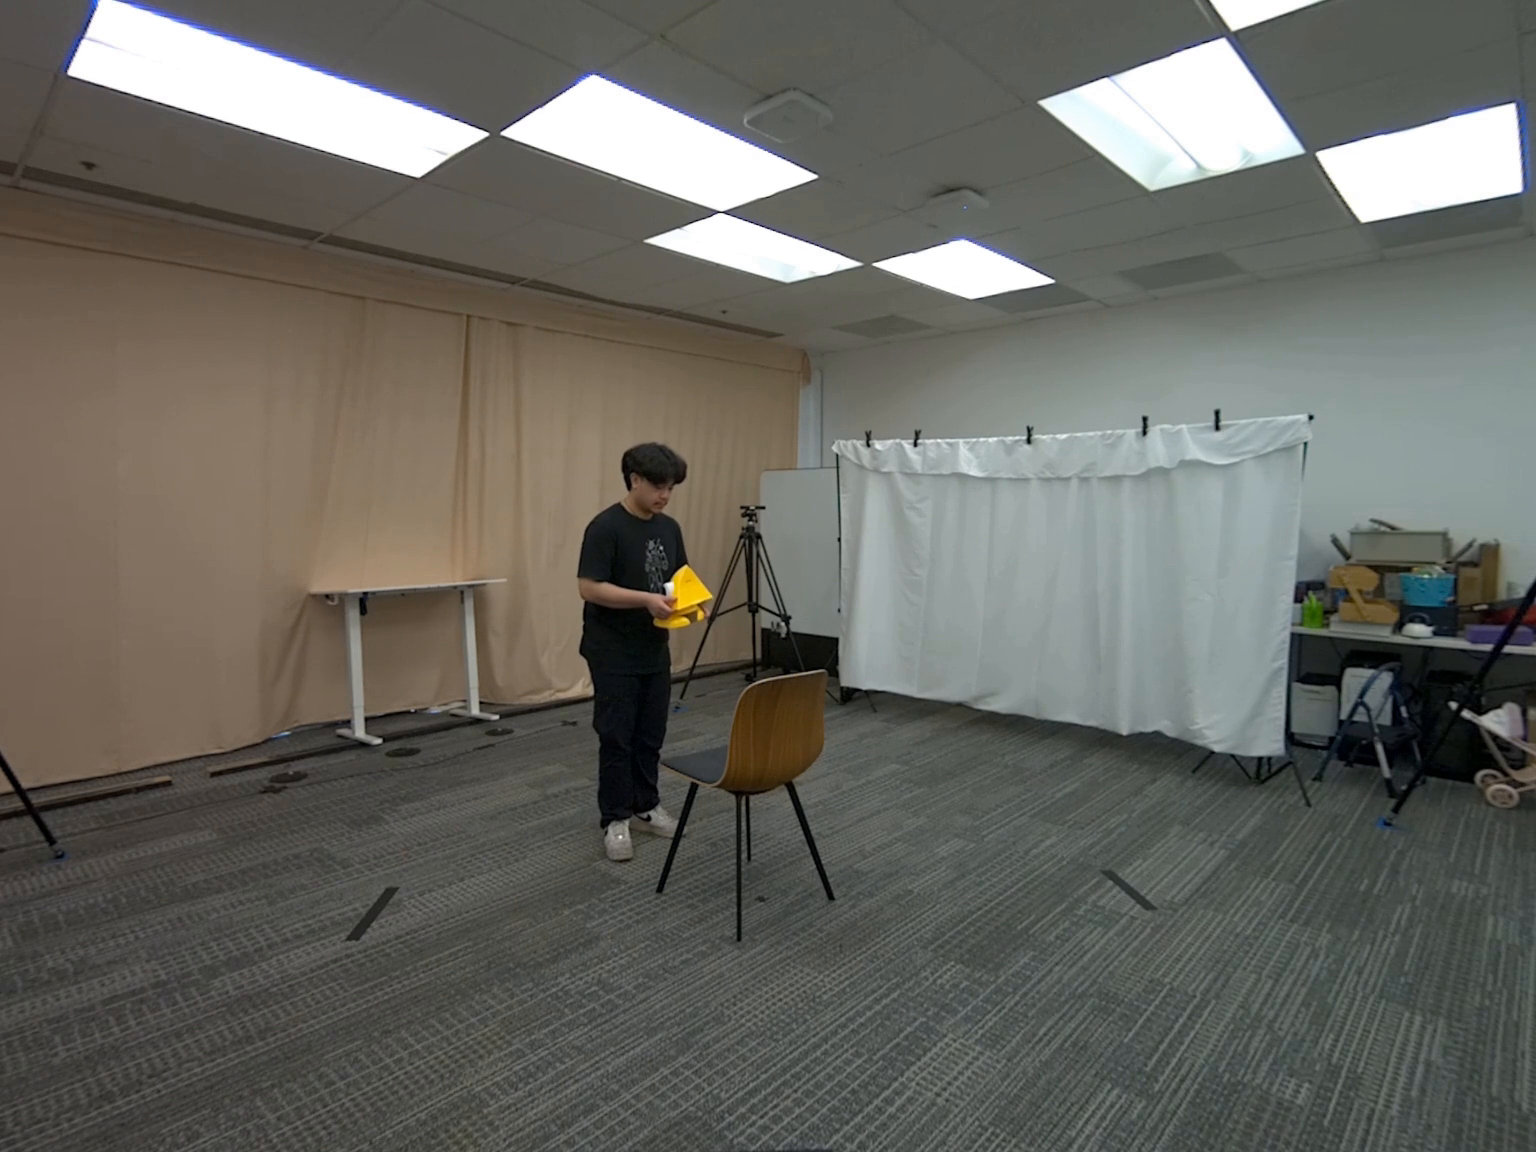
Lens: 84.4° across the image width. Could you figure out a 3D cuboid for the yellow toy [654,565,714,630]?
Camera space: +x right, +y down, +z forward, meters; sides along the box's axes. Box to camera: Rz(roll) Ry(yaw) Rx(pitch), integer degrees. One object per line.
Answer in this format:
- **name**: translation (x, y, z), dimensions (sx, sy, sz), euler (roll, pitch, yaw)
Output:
- **yellow toy**: translation (-0.358, 0.067, 3.327), dimensions (0.199, 0.229, 0.200), euler (5, 14, 38)
